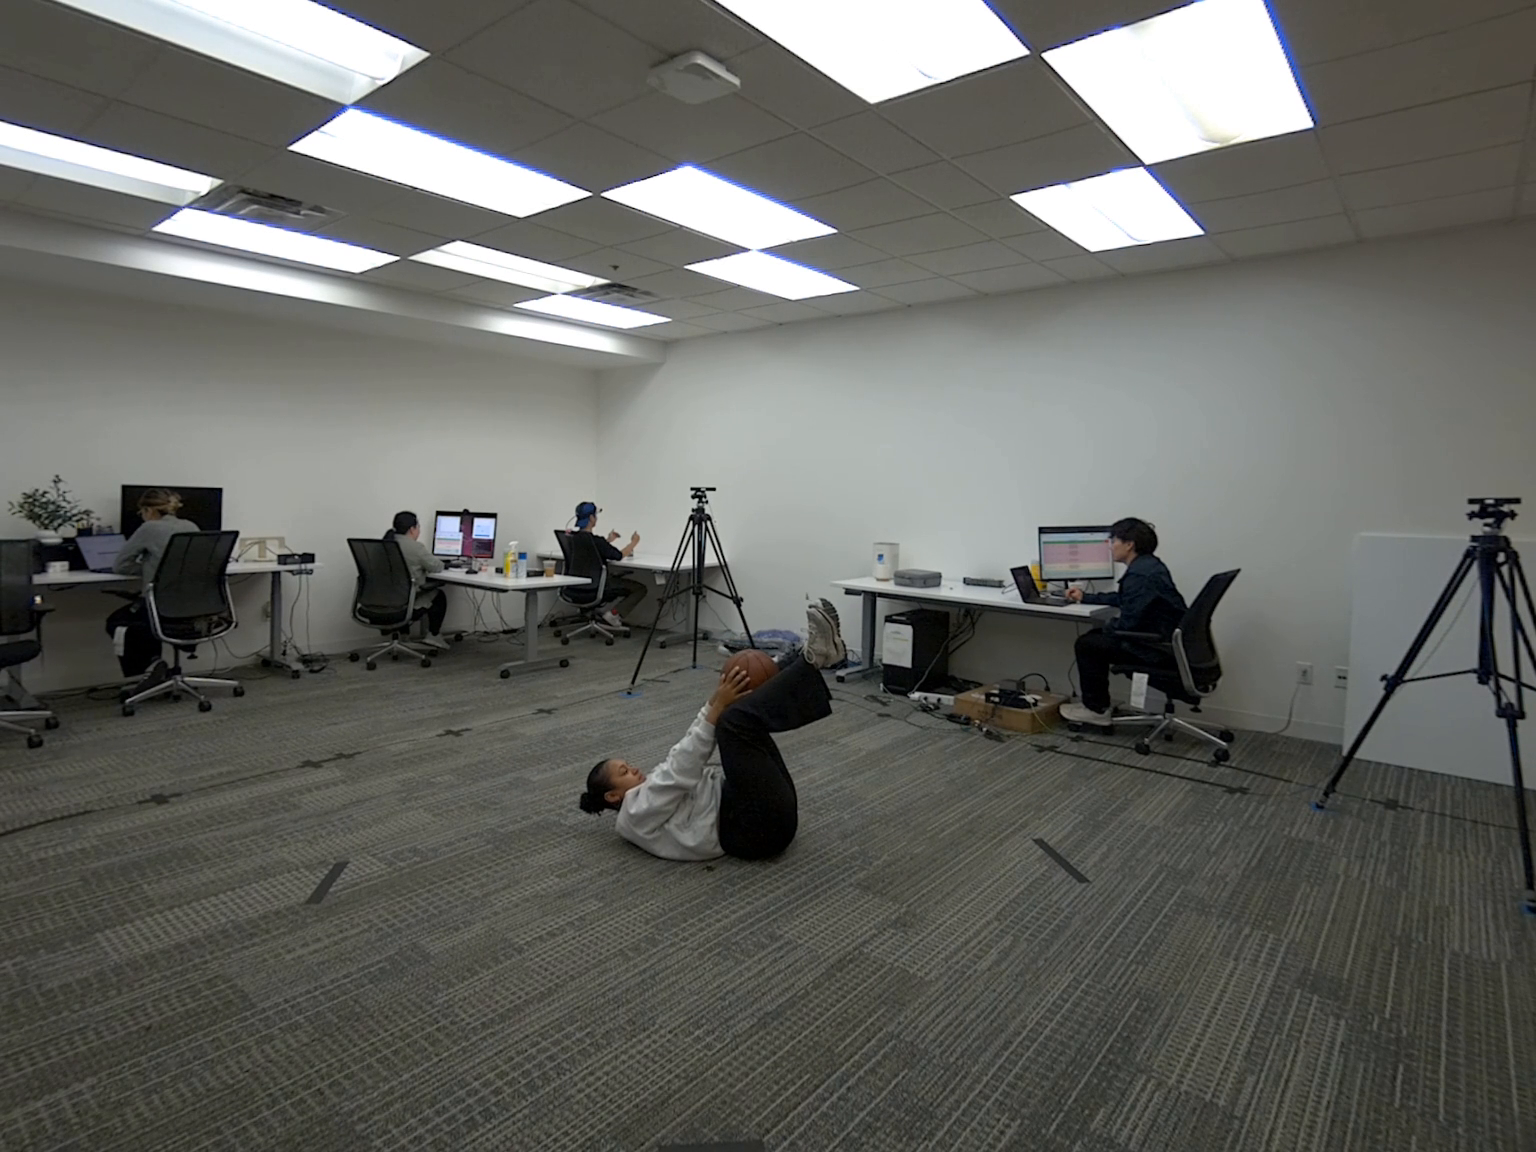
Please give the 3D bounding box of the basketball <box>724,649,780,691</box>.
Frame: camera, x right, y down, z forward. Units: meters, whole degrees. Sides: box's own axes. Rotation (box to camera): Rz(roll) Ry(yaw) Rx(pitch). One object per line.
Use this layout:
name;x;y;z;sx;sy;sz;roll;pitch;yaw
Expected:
basketball;-0.081;0.396;3.323;0.236;0.235;0.237;0;4;-2
